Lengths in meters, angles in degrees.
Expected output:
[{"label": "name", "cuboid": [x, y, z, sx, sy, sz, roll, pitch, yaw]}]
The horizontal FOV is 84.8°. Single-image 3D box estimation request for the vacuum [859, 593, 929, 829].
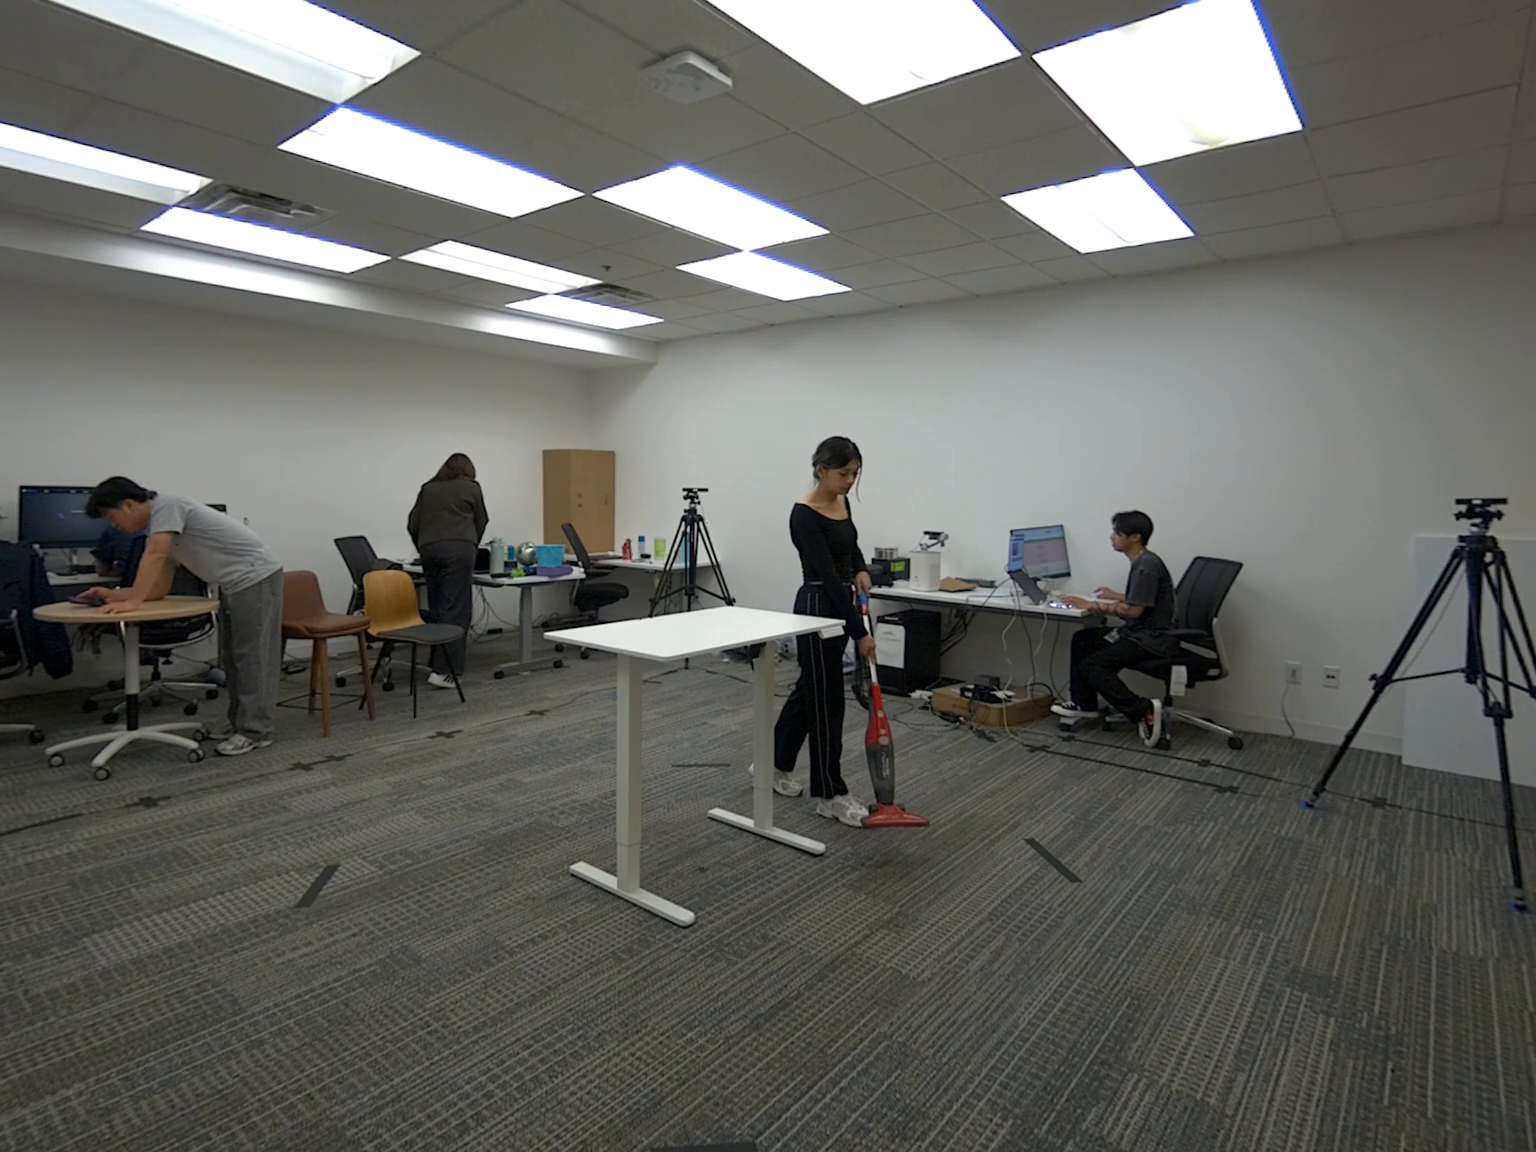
[{"label": "vacuum", "cuboid": [0.426, 0.449, 3.442, 0.250, 1.076, 0.142, 0, -27, -9]}]
